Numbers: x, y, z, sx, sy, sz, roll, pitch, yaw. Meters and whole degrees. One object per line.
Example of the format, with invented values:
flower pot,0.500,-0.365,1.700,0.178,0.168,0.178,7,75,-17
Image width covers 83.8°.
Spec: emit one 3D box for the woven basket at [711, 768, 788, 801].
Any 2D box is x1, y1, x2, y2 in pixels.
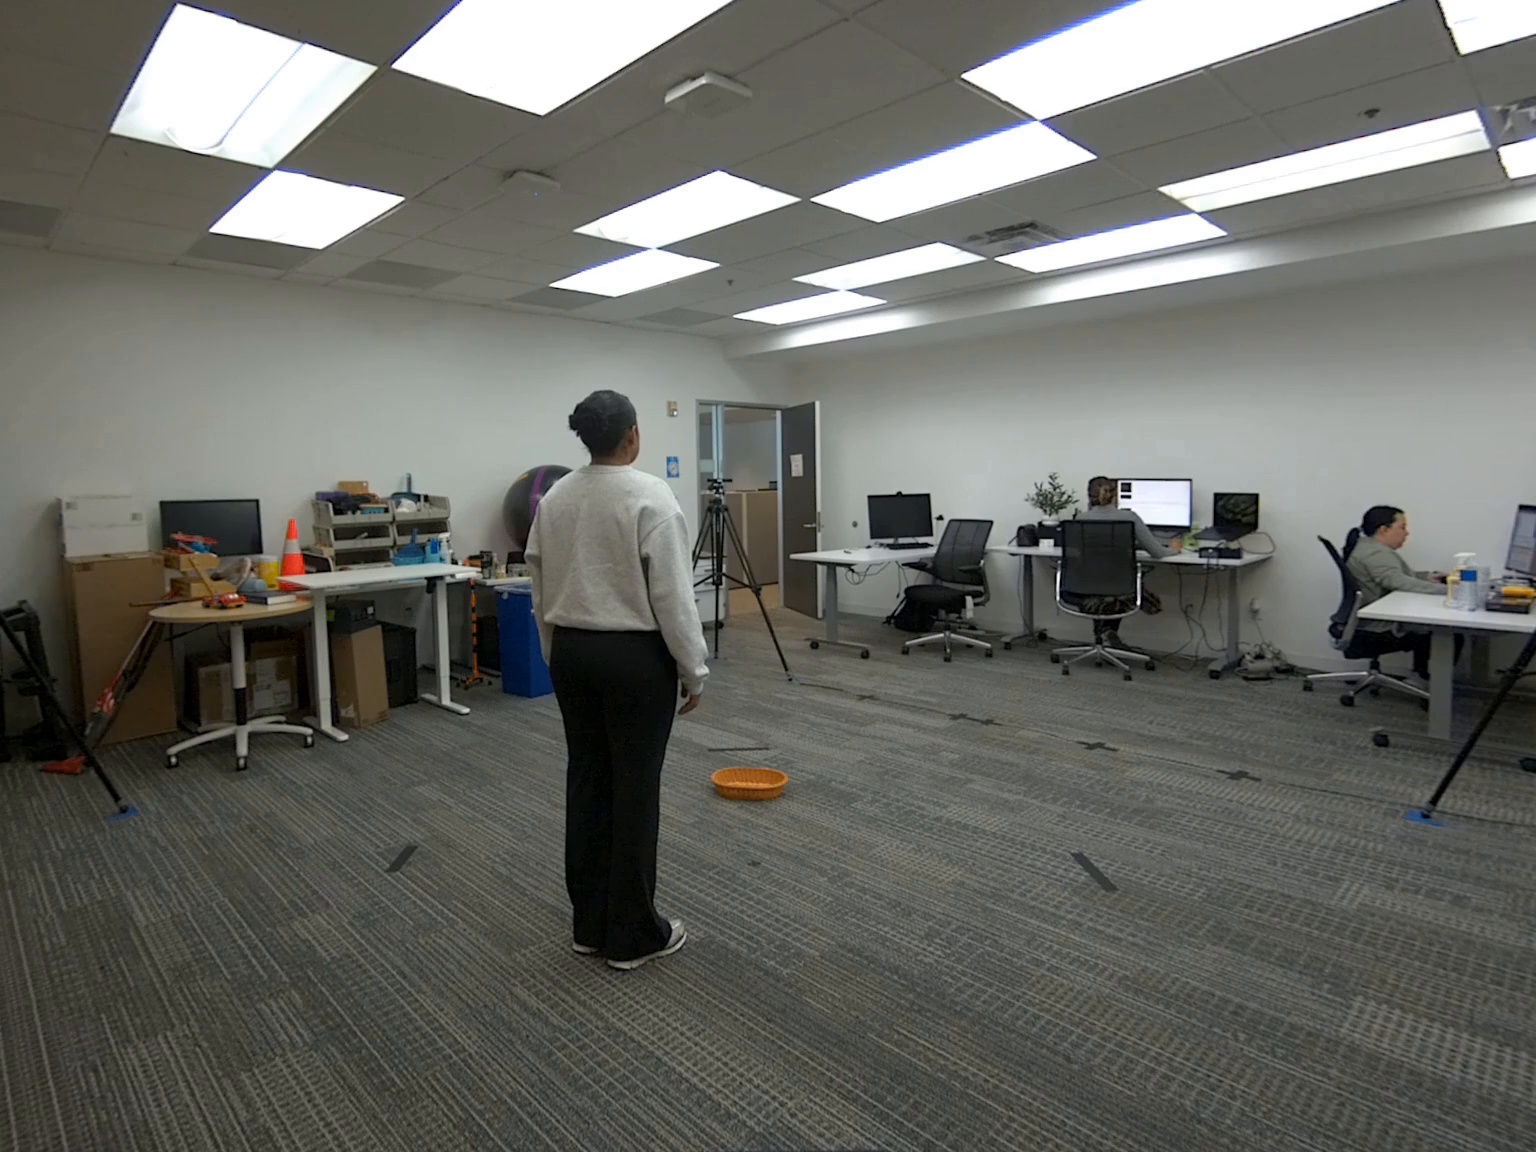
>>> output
woven basket,-0.082,0.929,3.814,0.356,0.073,0.250,1,7,15
